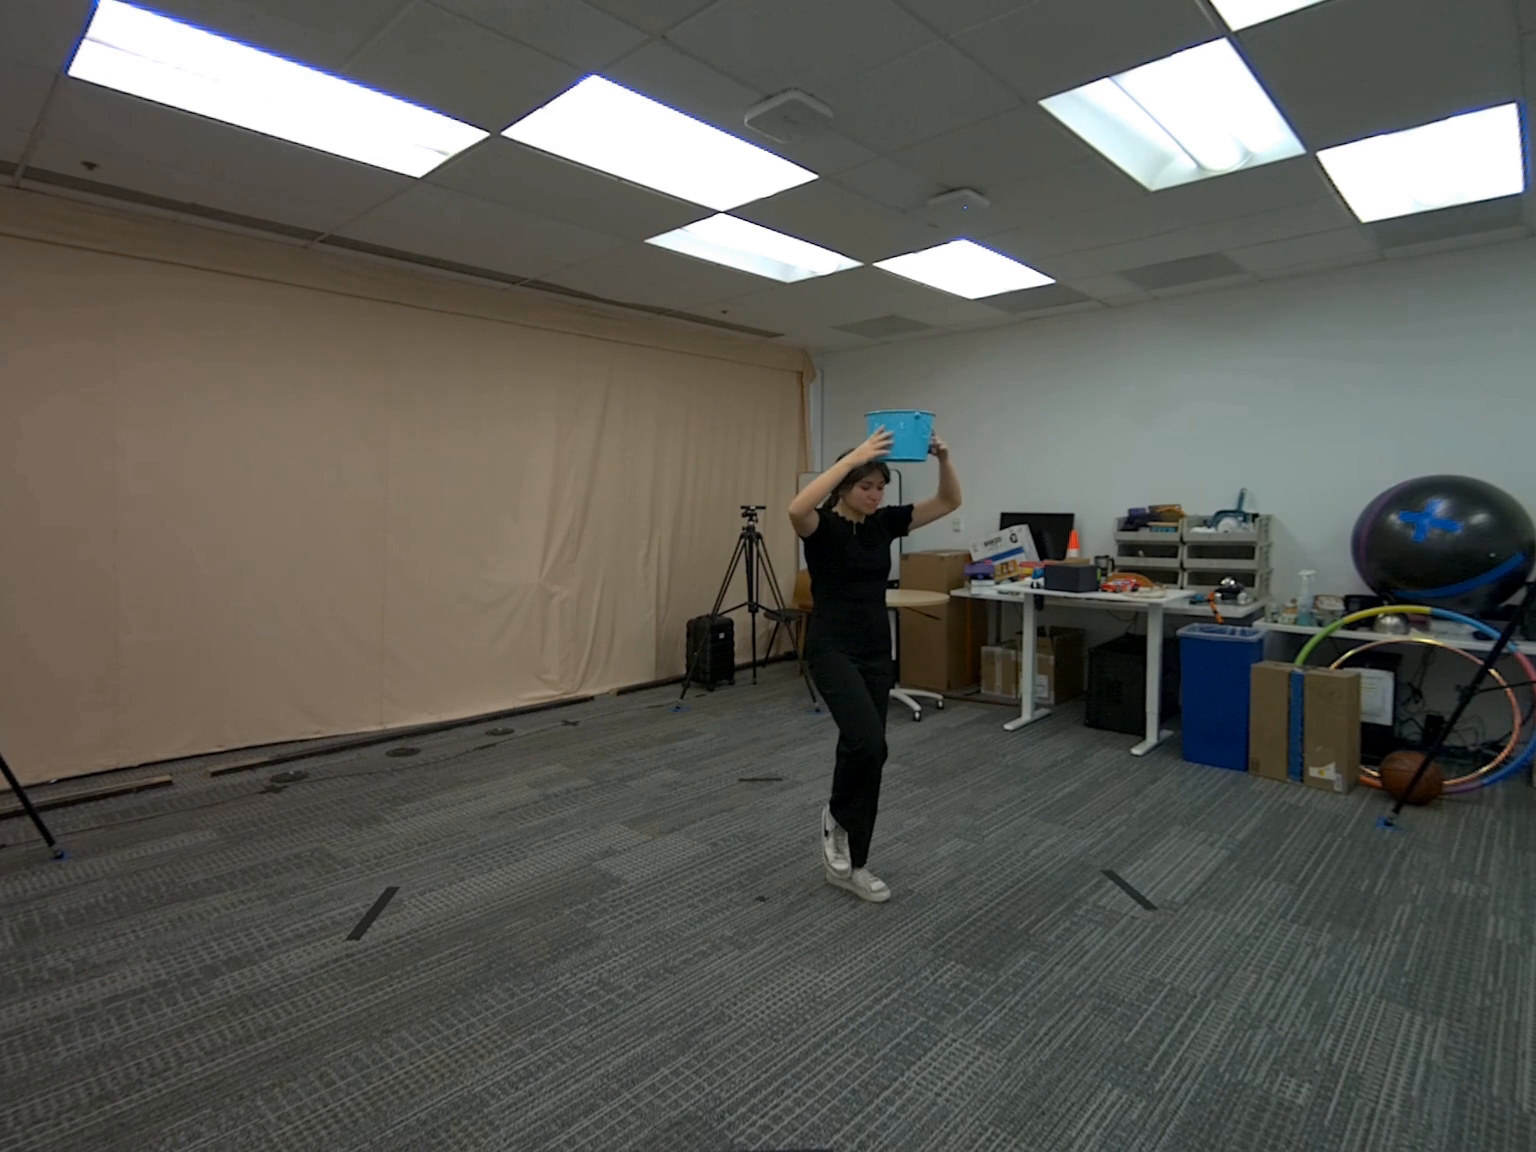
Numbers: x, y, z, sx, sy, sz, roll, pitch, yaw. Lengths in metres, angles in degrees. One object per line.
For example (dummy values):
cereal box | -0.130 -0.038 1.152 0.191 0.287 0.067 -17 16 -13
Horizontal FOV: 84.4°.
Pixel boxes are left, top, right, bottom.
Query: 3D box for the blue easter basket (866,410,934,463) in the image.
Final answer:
blue easter basket | 0.447 -0.452 2.794 0.243 0.155 0.244 0 3 -2
